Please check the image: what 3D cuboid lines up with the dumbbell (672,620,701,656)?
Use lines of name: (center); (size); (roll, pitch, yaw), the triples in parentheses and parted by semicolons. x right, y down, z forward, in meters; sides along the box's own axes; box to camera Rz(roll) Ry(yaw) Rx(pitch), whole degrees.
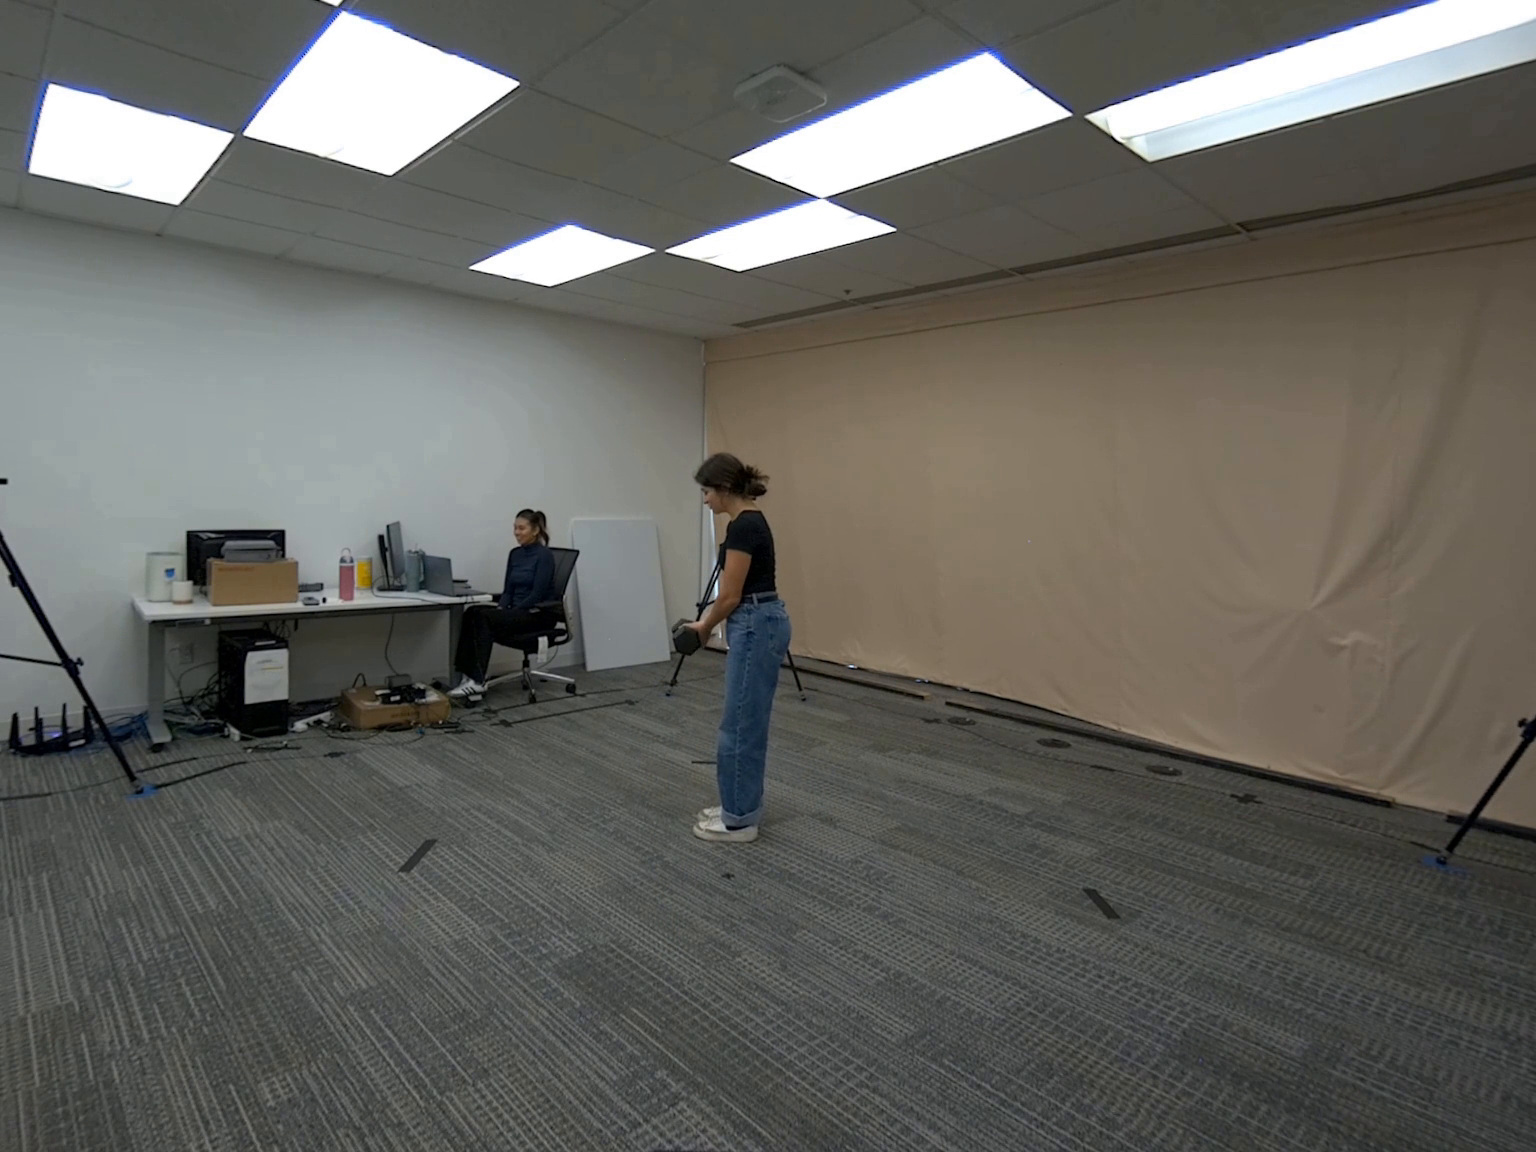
dumbbell: (-0.354, 0.255, 3.587); (0.107, 0.123, 0.296); (45, 0, -11)
